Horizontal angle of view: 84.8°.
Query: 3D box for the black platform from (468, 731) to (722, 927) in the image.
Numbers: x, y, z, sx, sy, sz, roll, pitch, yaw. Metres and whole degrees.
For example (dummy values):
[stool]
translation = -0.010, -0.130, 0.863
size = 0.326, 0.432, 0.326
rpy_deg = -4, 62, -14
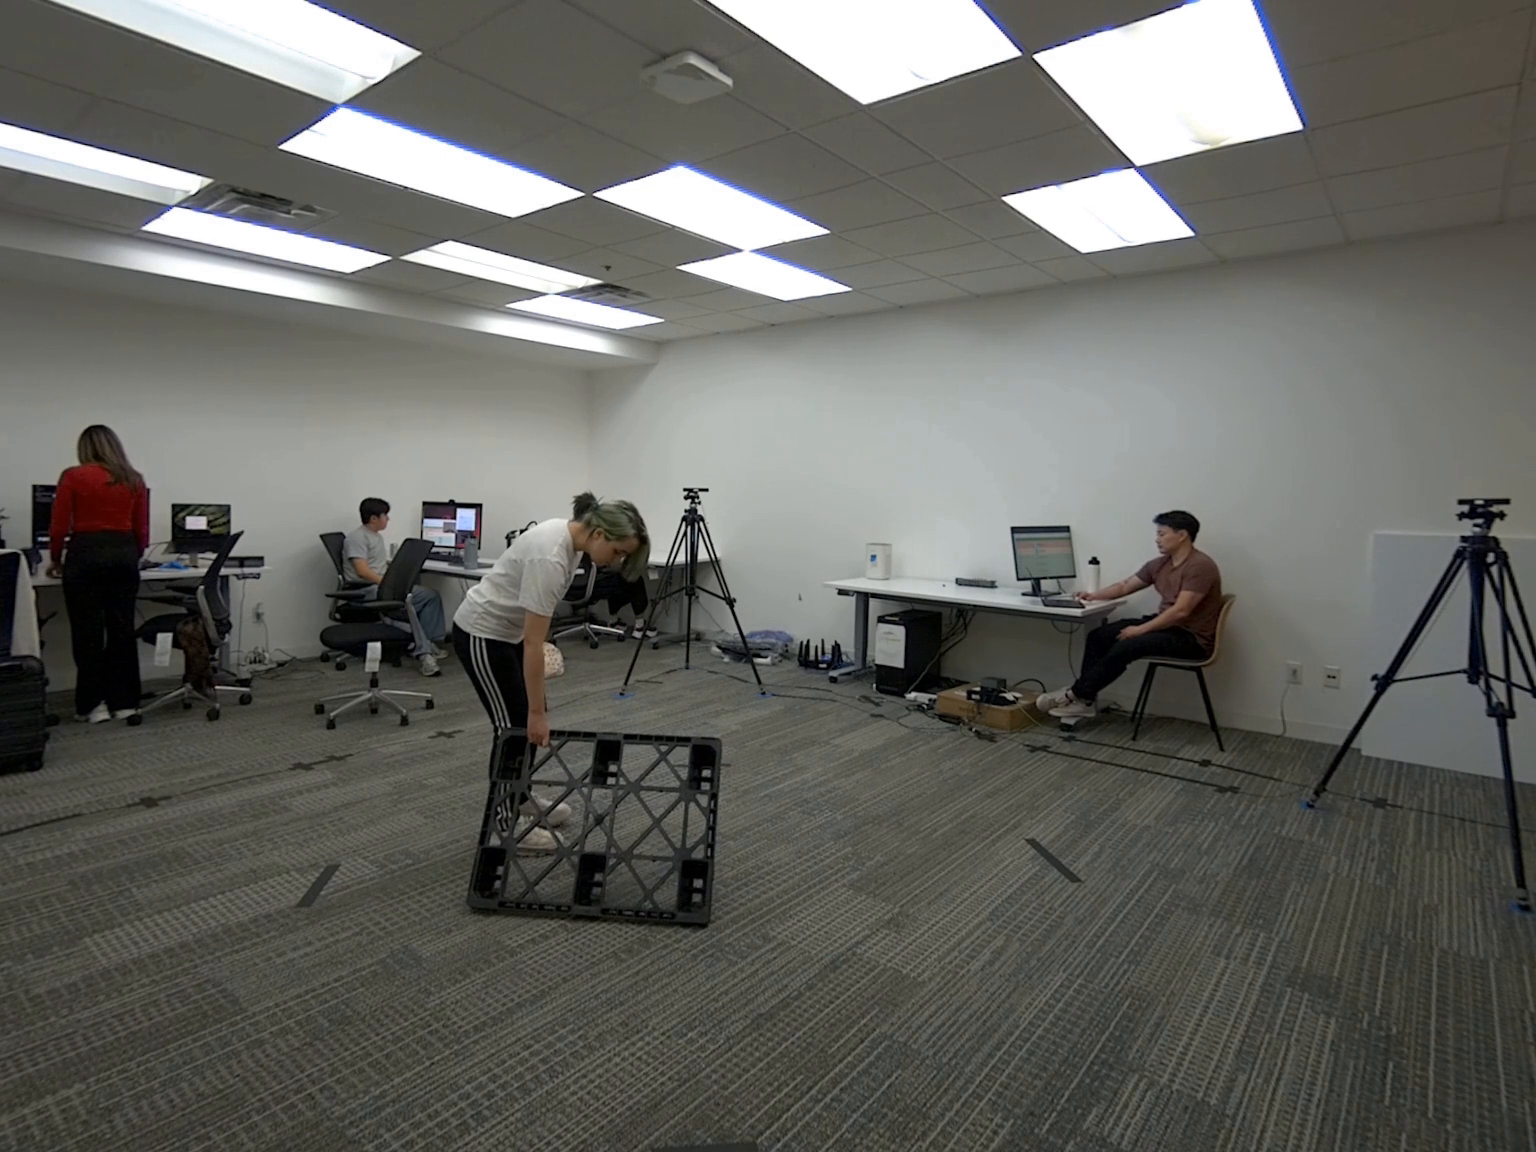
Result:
[black platform]
translation = -0.576, 0.846, 2.914
size = 0.811, 0.619, 0.139
rpy_deg = 1, -29, 5
